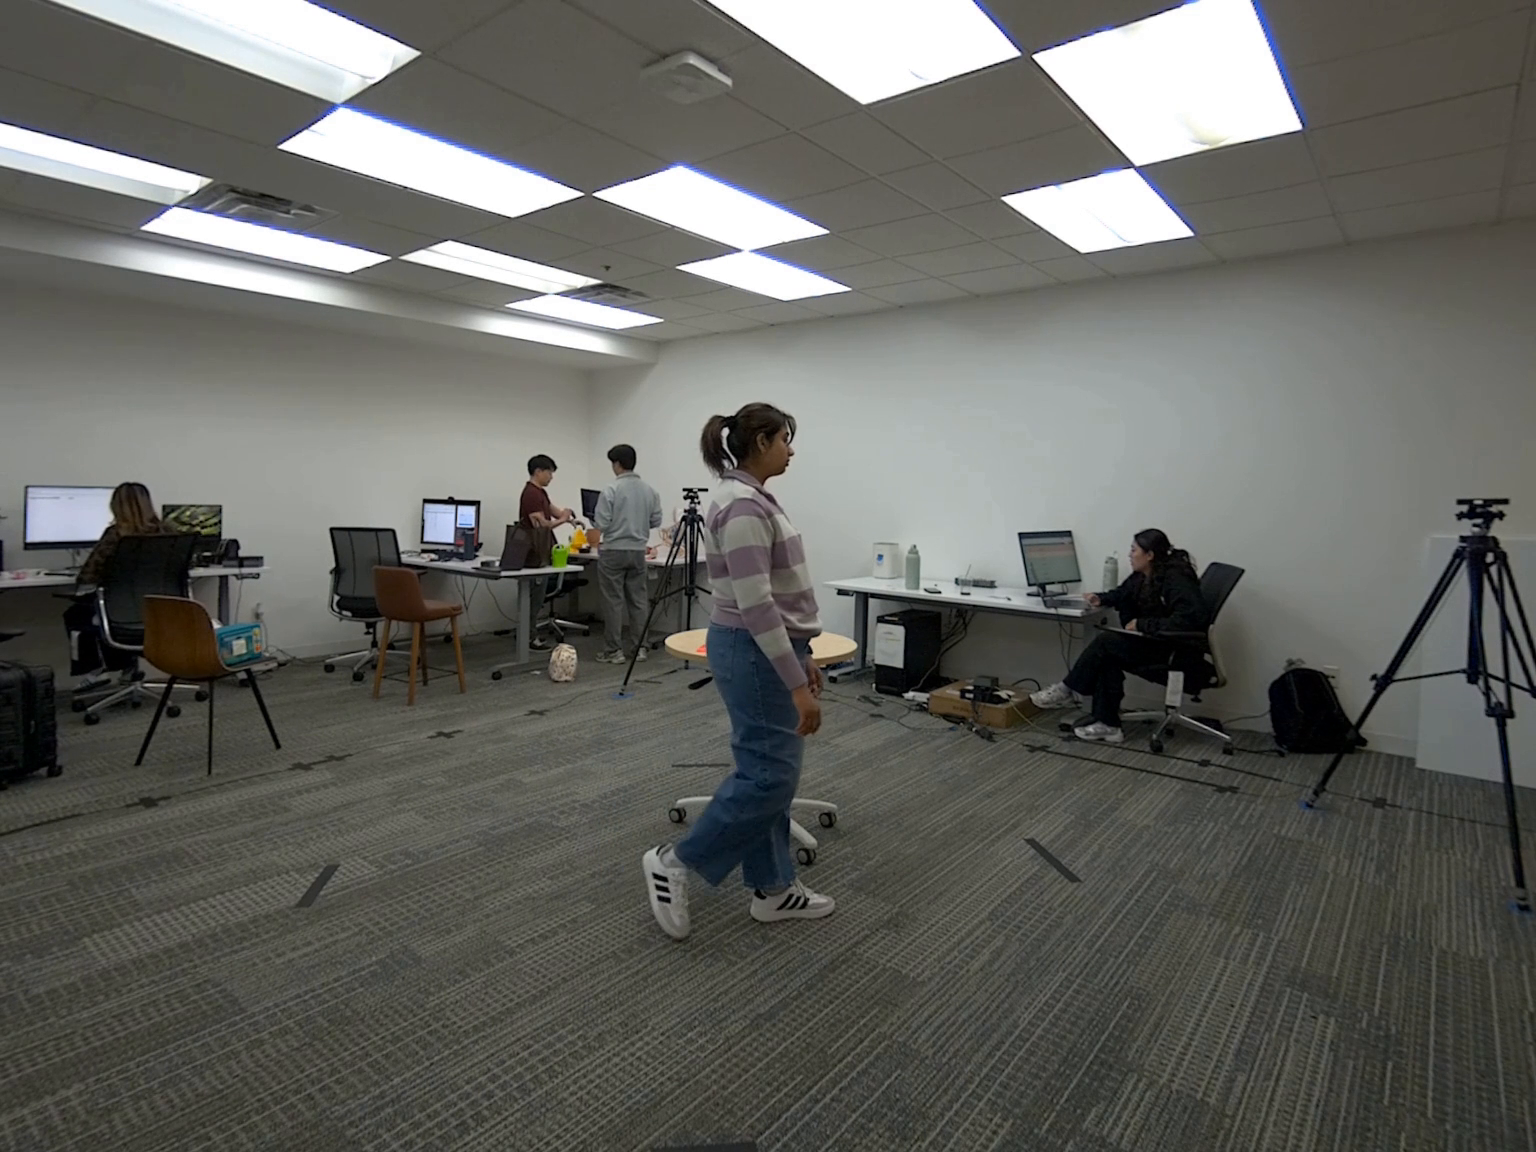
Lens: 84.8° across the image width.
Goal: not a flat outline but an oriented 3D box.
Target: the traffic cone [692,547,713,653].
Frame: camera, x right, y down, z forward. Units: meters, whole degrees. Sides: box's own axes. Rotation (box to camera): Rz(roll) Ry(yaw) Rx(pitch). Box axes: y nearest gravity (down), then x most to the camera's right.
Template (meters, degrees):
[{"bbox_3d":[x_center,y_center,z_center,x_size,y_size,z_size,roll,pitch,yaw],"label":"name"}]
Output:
[{"bbox_3d":[-0.167,0.087,3.237,0.207,0.383,0.201,1,2,11],"label":"traffic cone"}]
